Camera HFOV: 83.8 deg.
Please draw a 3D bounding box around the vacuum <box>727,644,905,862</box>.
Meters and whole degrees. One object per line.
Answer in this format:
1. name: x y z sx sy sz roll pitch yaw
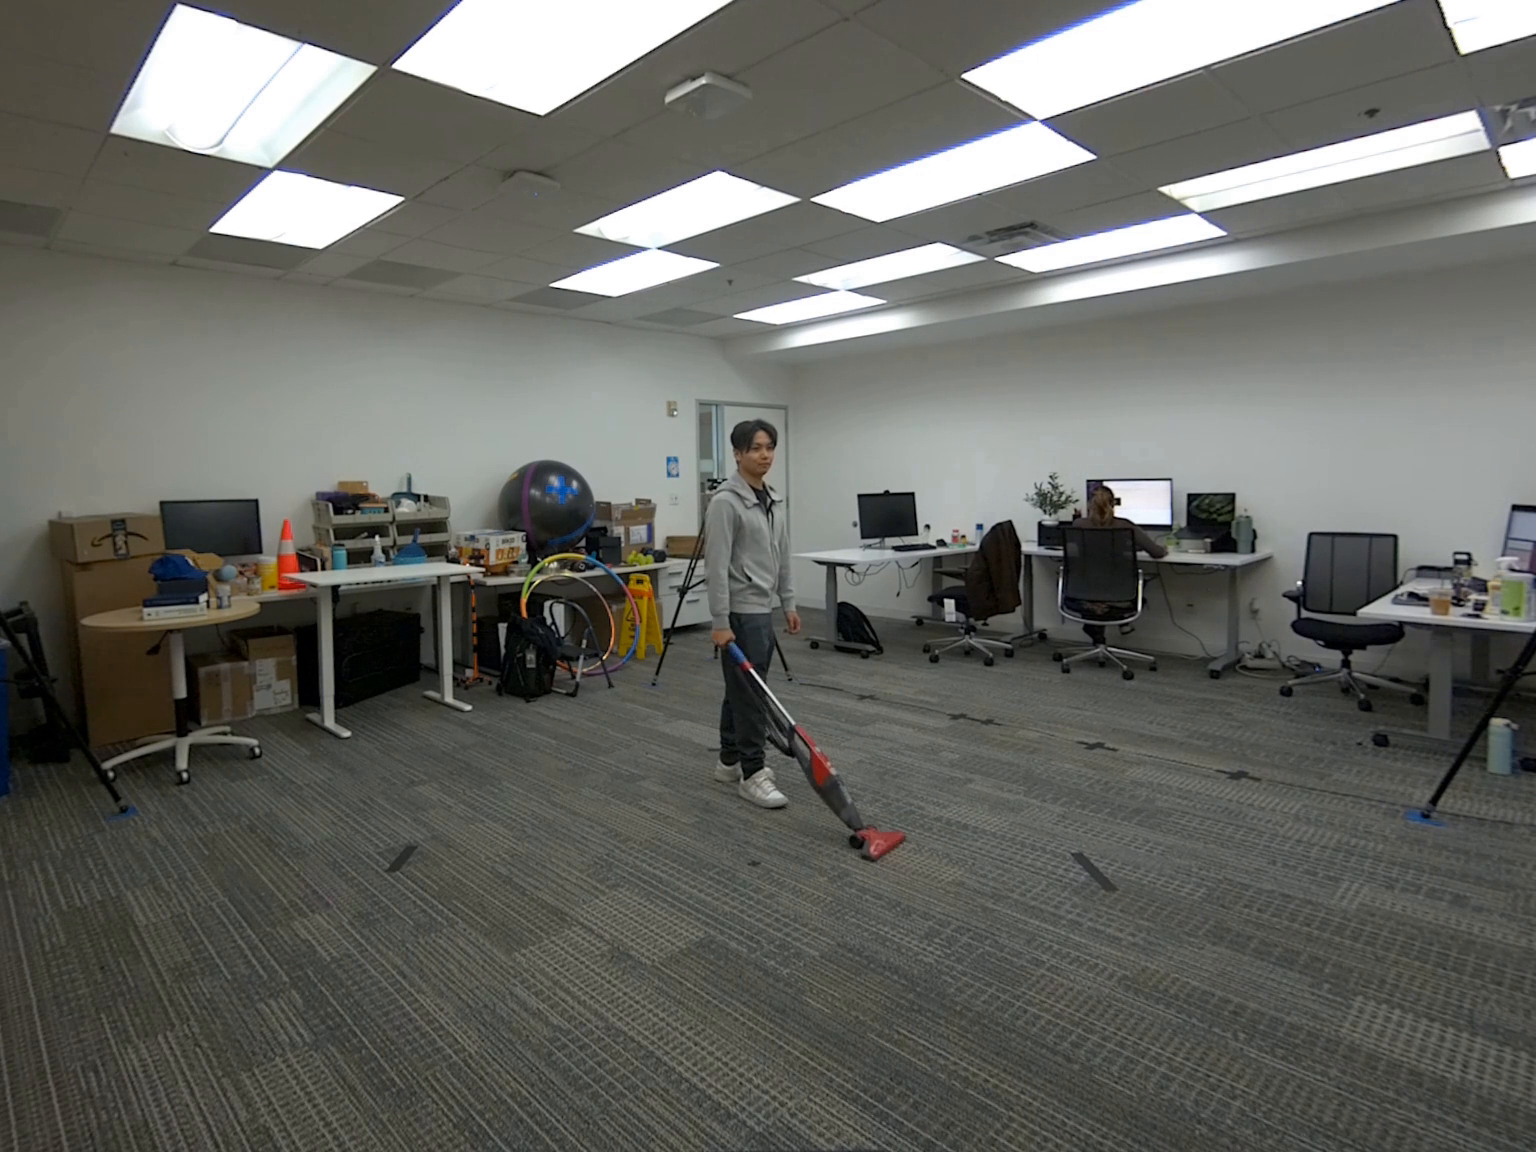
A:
1. vacuum: 0.111 0.646 3.451 1.082 0.144 0.245 50 25 25
